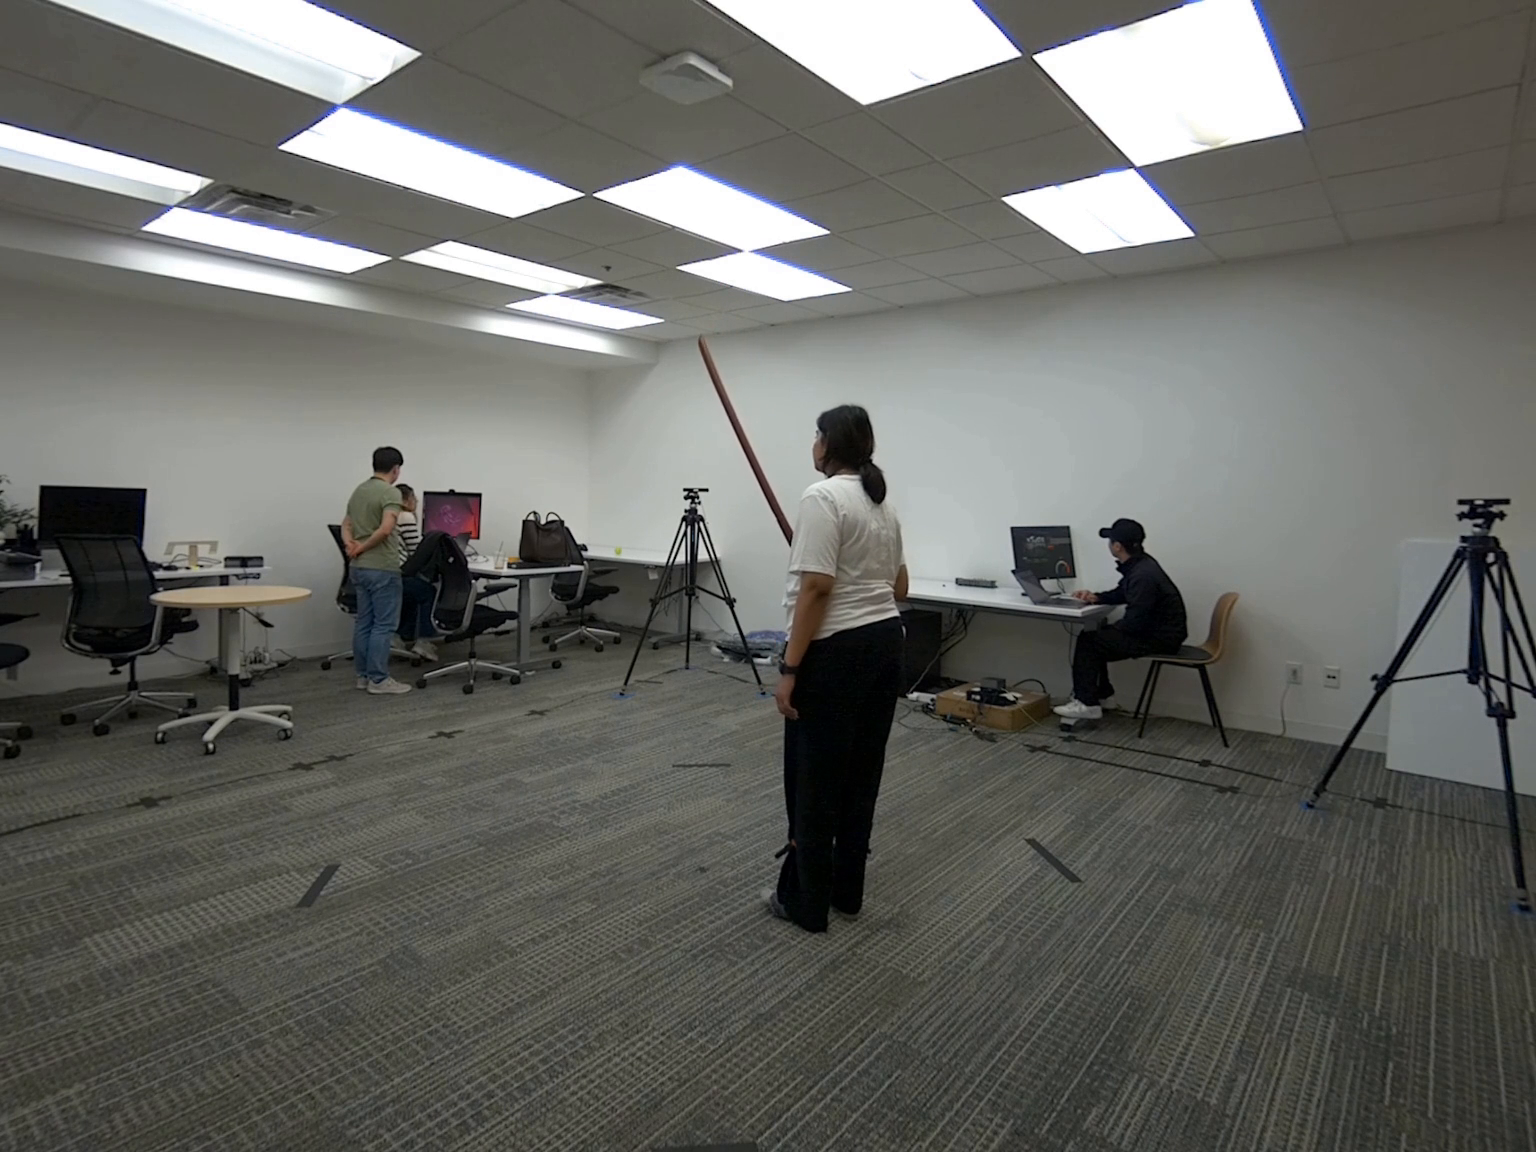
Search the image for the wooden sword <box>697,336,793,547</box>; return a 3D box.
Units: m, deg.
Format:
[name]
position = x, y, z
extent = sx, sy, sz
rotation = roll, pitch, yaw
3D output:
[wooden sword]
position = -0.073, -0.443, 3.132
extent = 0.051, 1.040, 0.024
rotation = -24, -11, -4
